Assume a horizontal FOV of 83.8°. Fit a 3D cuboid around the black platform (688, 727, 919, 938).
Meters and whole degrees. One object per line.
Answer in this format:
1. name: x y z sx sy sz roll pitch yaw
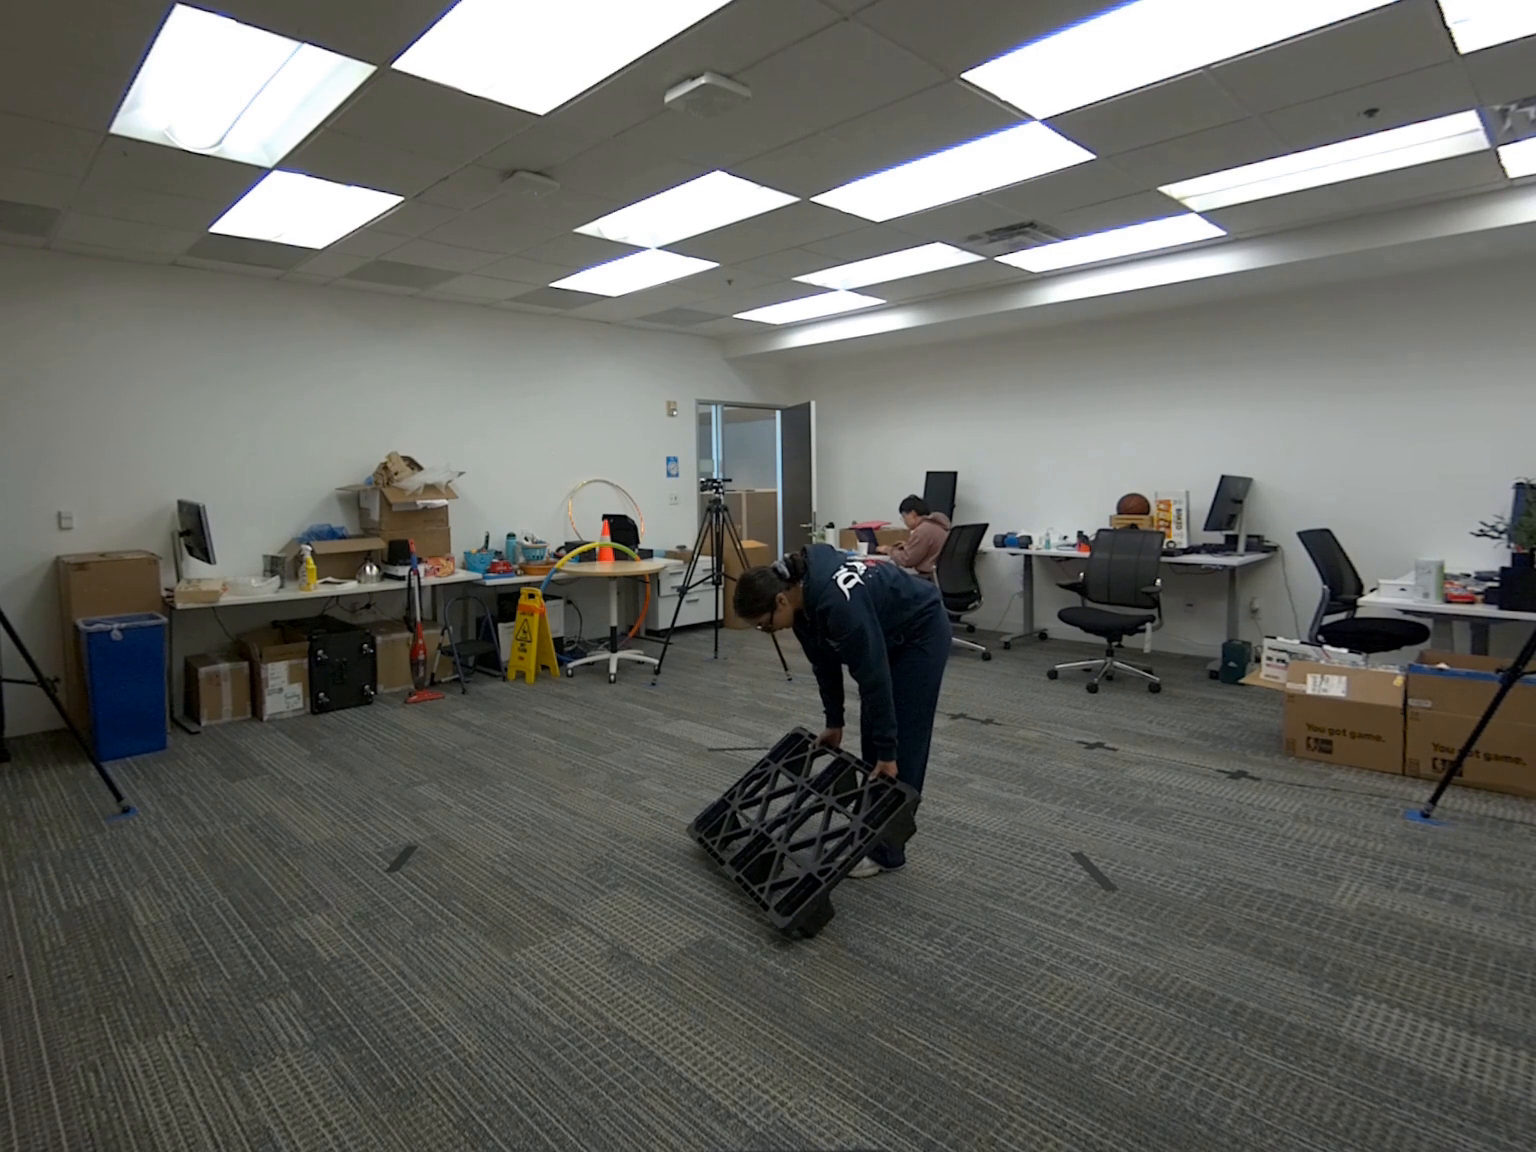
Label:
1. black platform: 0.116 0.867 2.978 0.603 0.140 0.826 -41 21 -16
